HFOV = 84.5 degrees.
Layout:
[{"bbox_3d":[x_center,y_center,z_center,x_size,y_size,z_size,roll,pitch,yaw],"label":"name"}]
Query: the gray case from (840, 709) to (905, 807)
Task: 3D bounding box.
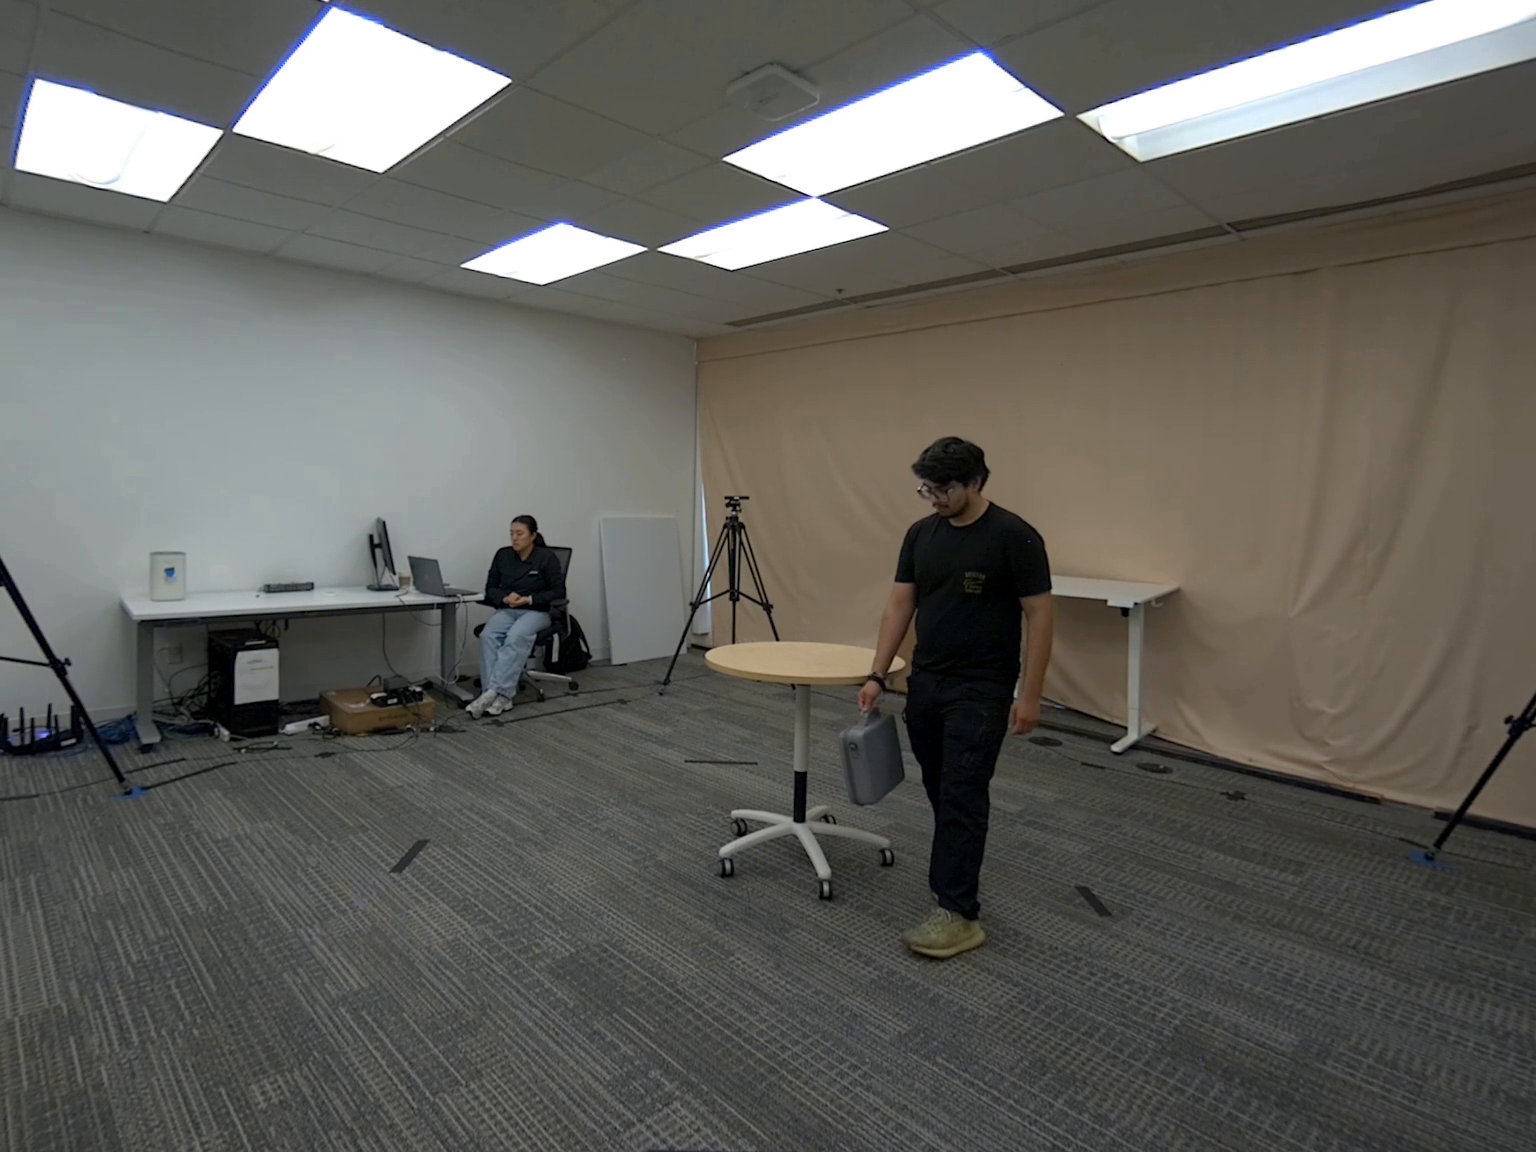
[{"bbox_3d":[0.353,0.608,2.852,0.106,0.260,0.253,-8,5,36],"label":"gray case"}]
